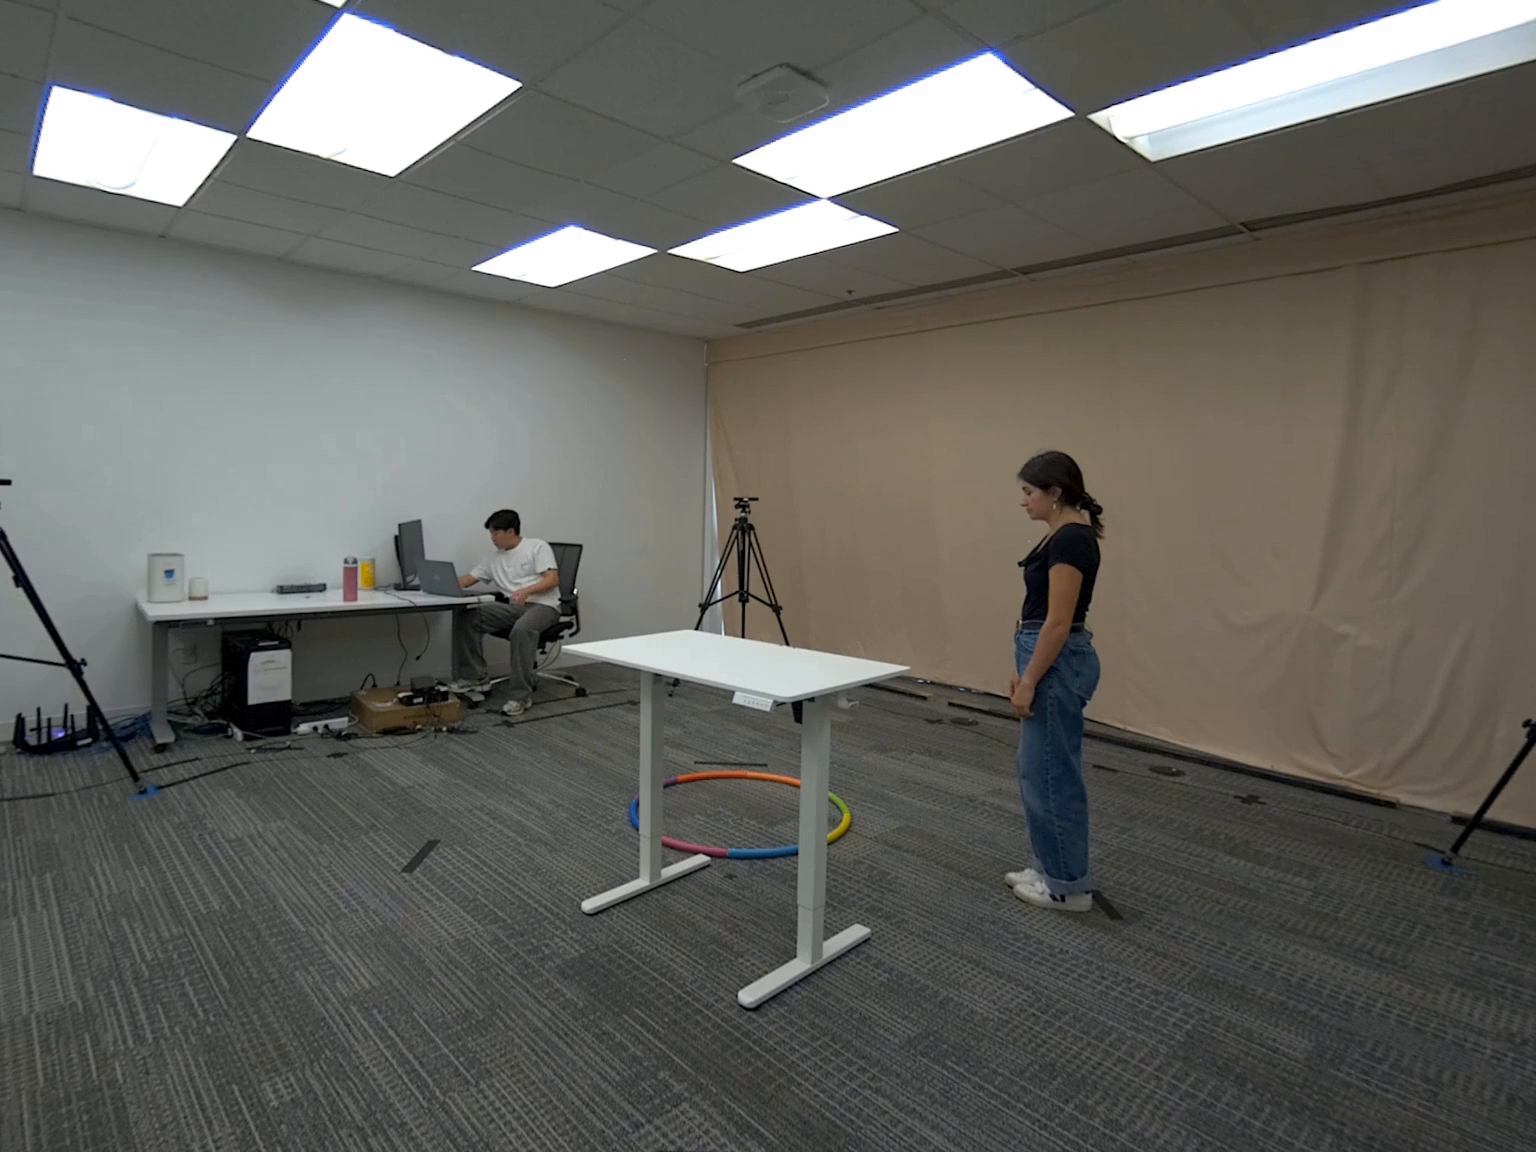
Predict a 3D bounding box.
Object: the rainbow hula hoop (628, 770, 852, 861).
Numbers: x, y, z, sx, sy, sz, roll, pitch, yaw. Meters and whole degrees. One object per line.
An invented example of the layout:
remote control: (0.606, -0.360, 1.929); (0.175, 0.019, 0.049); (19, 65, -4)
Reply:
rainbow hula hoop: (-0.141, 1.025, 3.731); (0.978, 0.035, 0.982); (1, 5, -1)
